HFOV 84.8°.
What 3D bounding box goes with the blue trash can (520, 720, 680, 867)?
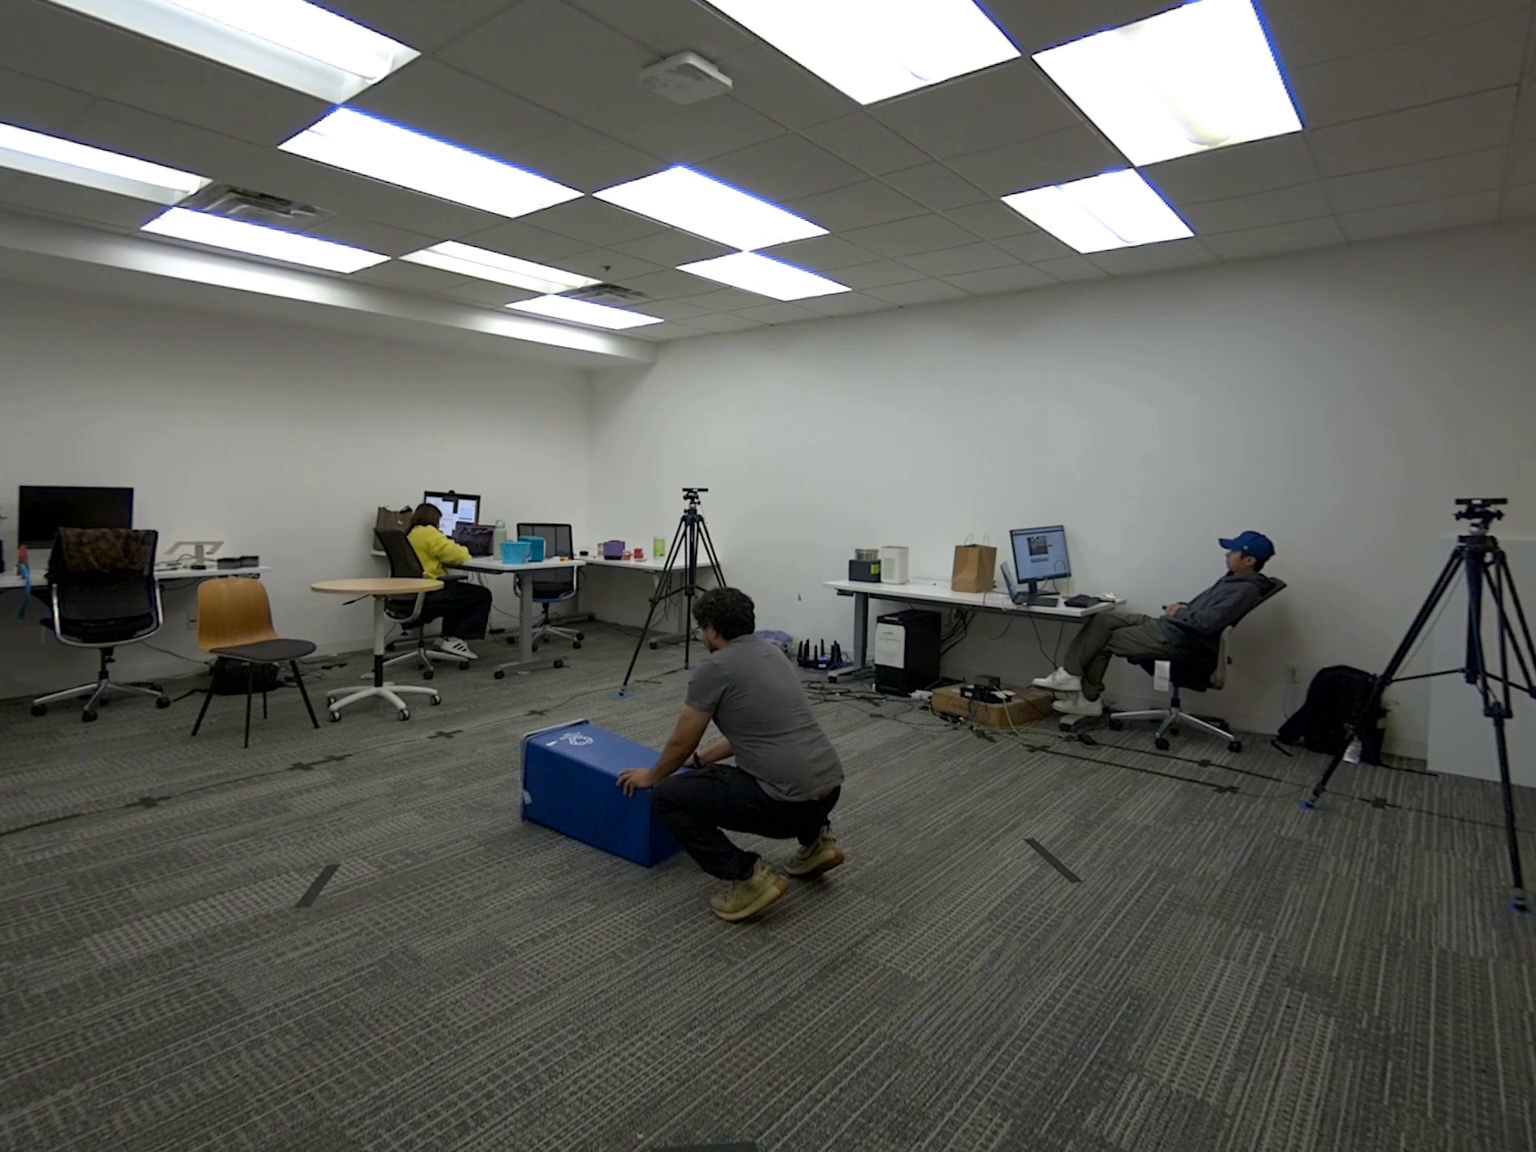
[{"bbox_3d":[-0.646,0.865,3.433,0.738,0.376,0.363,9,8,37],"label":"blue trash can"}]
